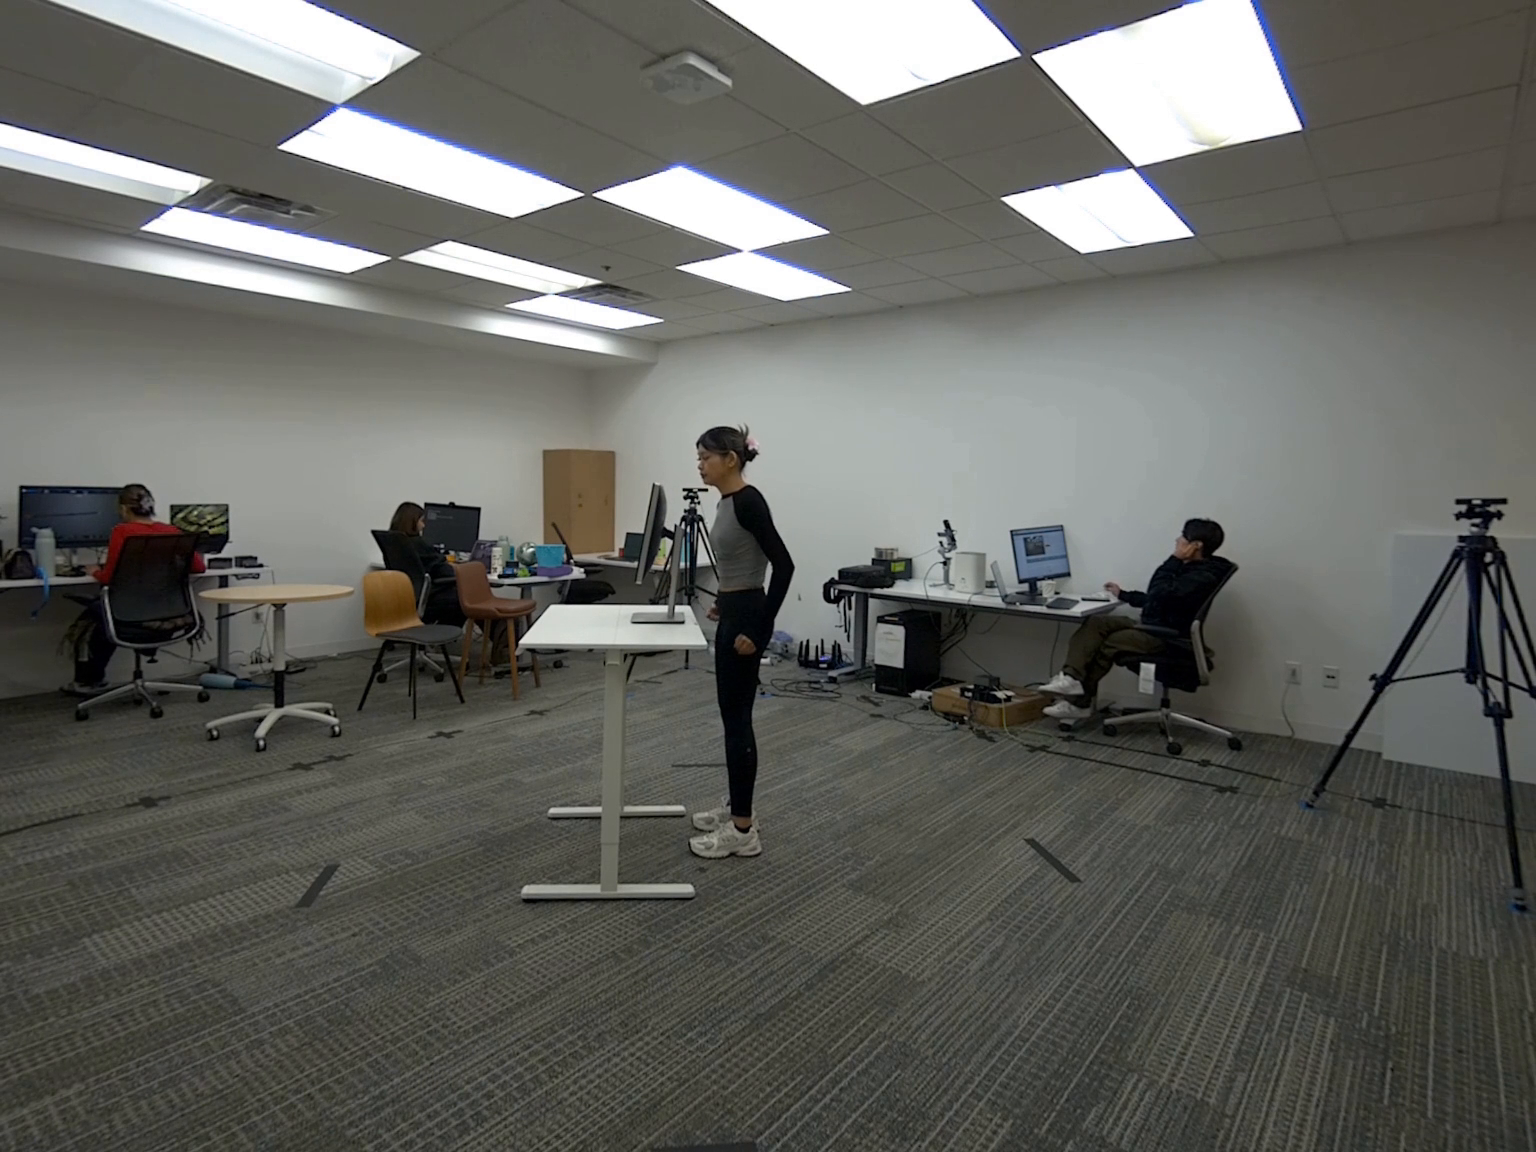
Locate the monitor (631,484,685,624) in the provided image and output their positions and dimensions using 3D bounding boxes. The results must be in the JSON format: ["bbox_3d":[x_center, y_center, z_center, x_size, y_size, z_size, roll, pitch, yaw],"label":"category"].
[{"bbox_3d":[-0.427,-0.088,3.281,0.186,0.521,0.544,-1,3,-7],"label":"monitor"}]
